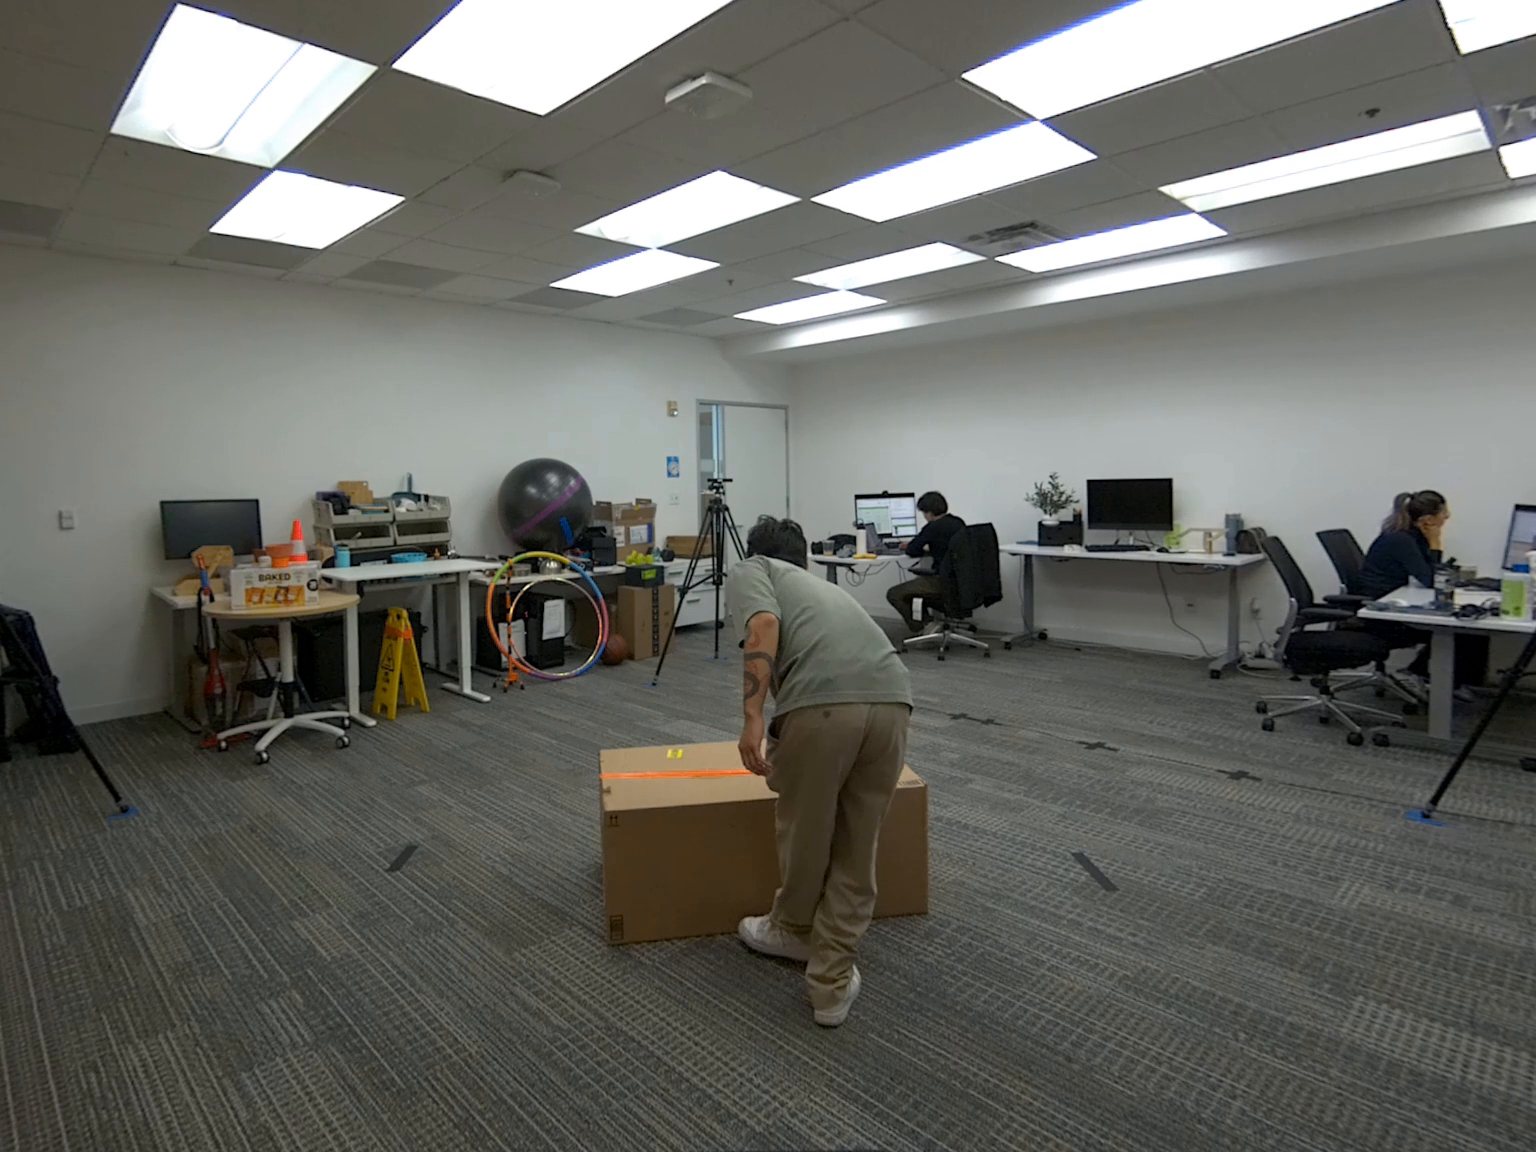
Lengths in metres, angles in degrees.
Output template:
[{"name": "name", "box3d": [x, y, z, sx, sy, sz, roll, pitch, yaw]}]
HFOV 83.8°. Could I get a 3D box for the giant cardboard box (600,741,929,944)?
[{"name": "giant cardboard box", "box3d": [-0.051, 0.851, 2.913, 1.016, 0.424, 0.585, -2, 6, -10]}]
